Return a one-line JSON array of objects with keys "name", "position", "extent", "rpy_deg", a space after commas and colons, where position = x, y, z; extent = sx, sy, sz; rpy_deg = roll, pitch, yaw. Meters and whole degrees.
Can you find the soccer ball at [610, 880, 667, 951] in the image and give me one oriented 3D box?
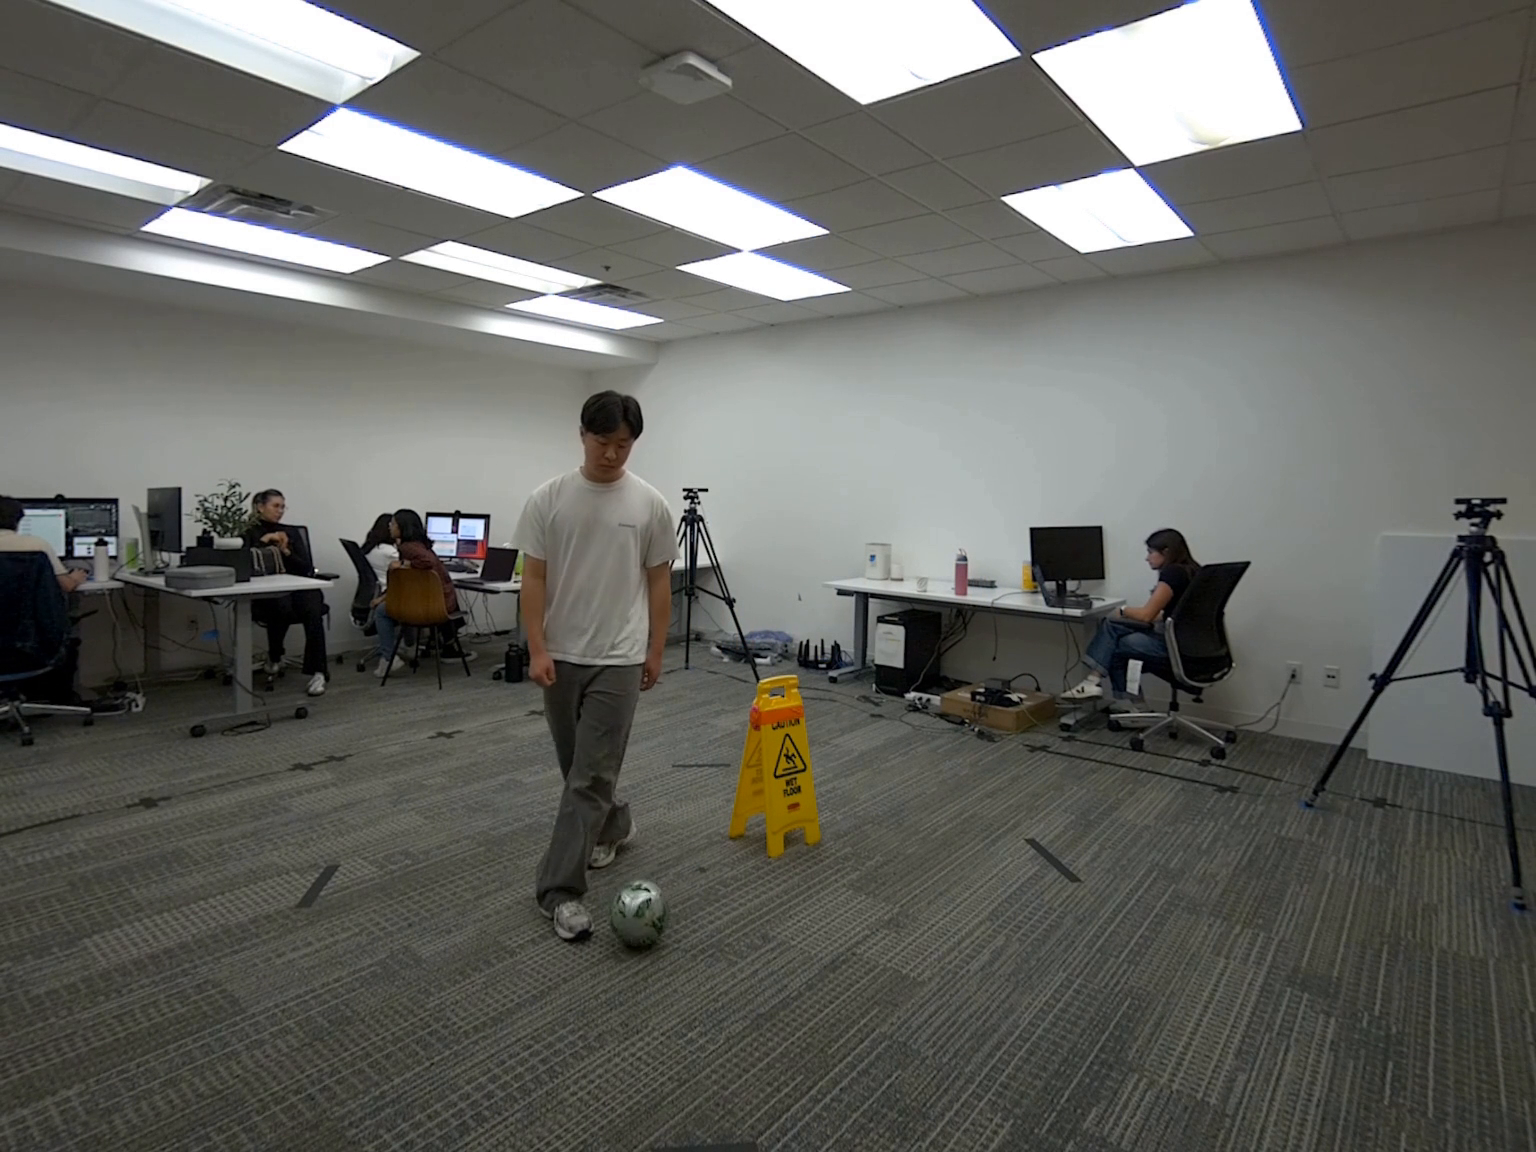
[{"name": "soccer ball", "position": [-0.392, 1.024, 2.593], "extent": [0.187, 0.187, 0.188], "rpy_deg": [1, 4, -2]}]
